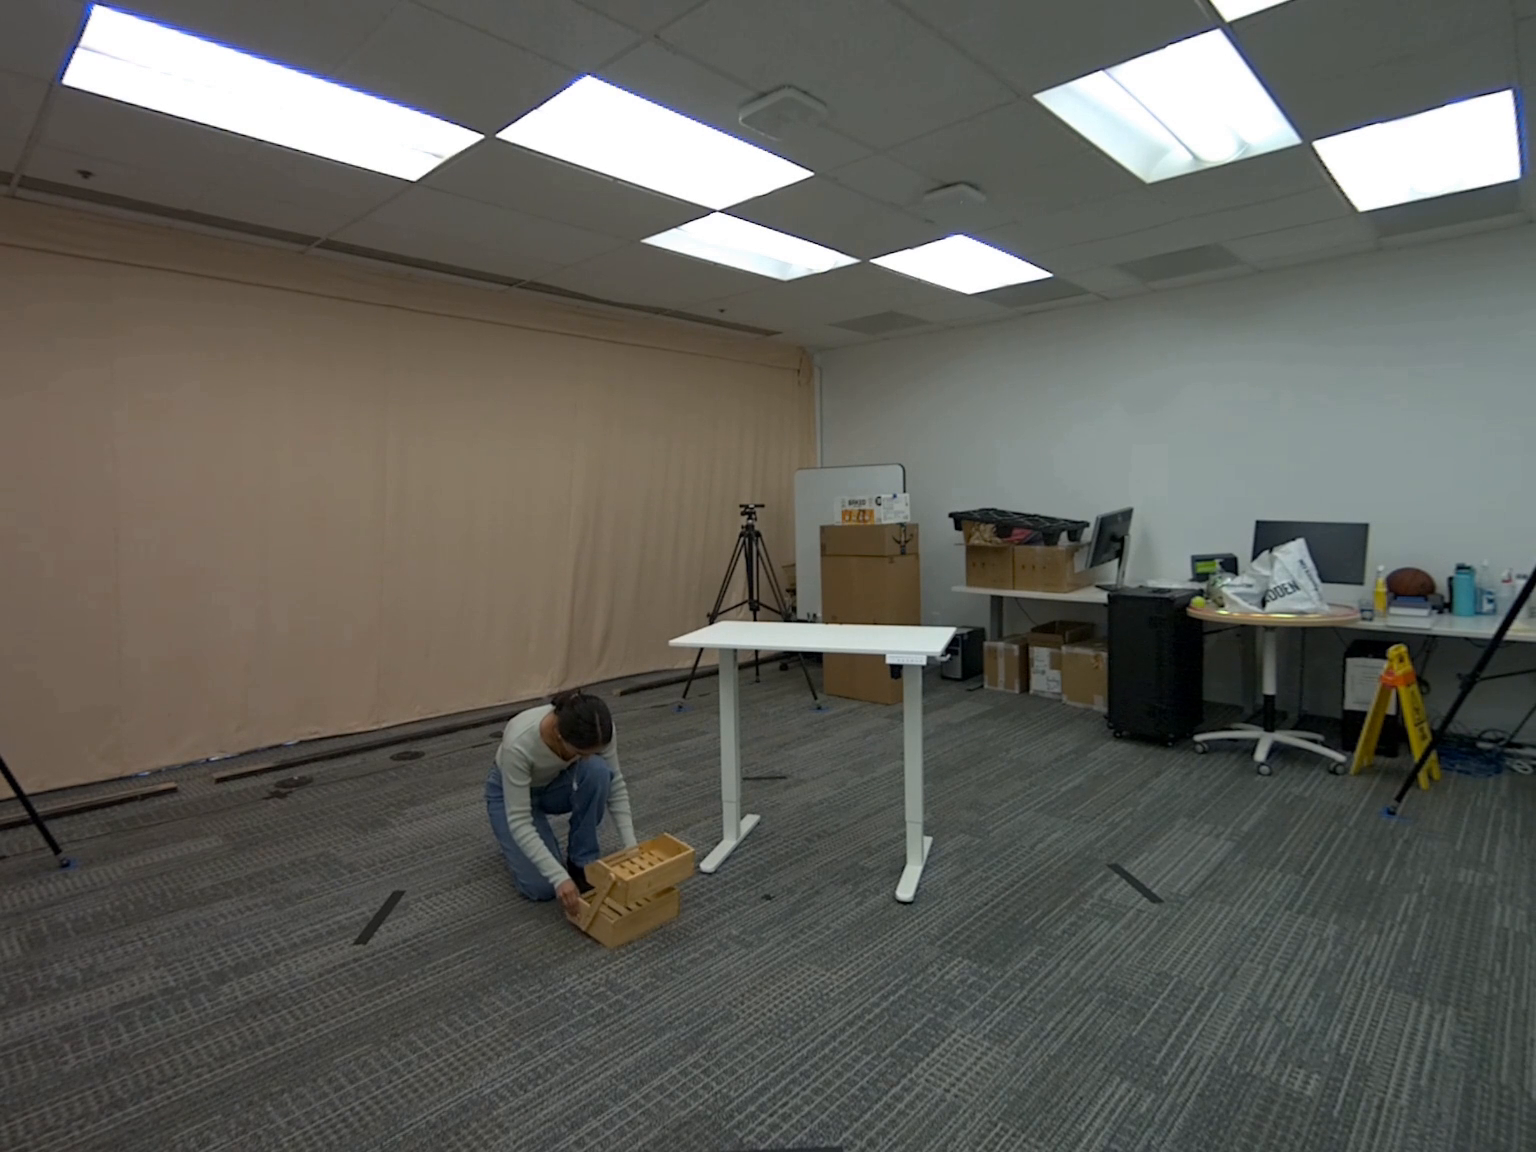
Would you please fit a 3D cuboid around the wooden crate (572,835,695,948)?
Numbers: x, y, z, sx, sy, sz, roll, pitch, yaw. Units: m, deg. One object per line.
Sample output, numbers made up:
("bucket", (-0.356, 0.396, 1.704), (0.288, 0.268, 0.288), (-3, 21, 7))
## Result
("wooden crate", (-0.458, 1.021, 2.800), (0.313, 0.272, 0.315), (12, 12, 40))
